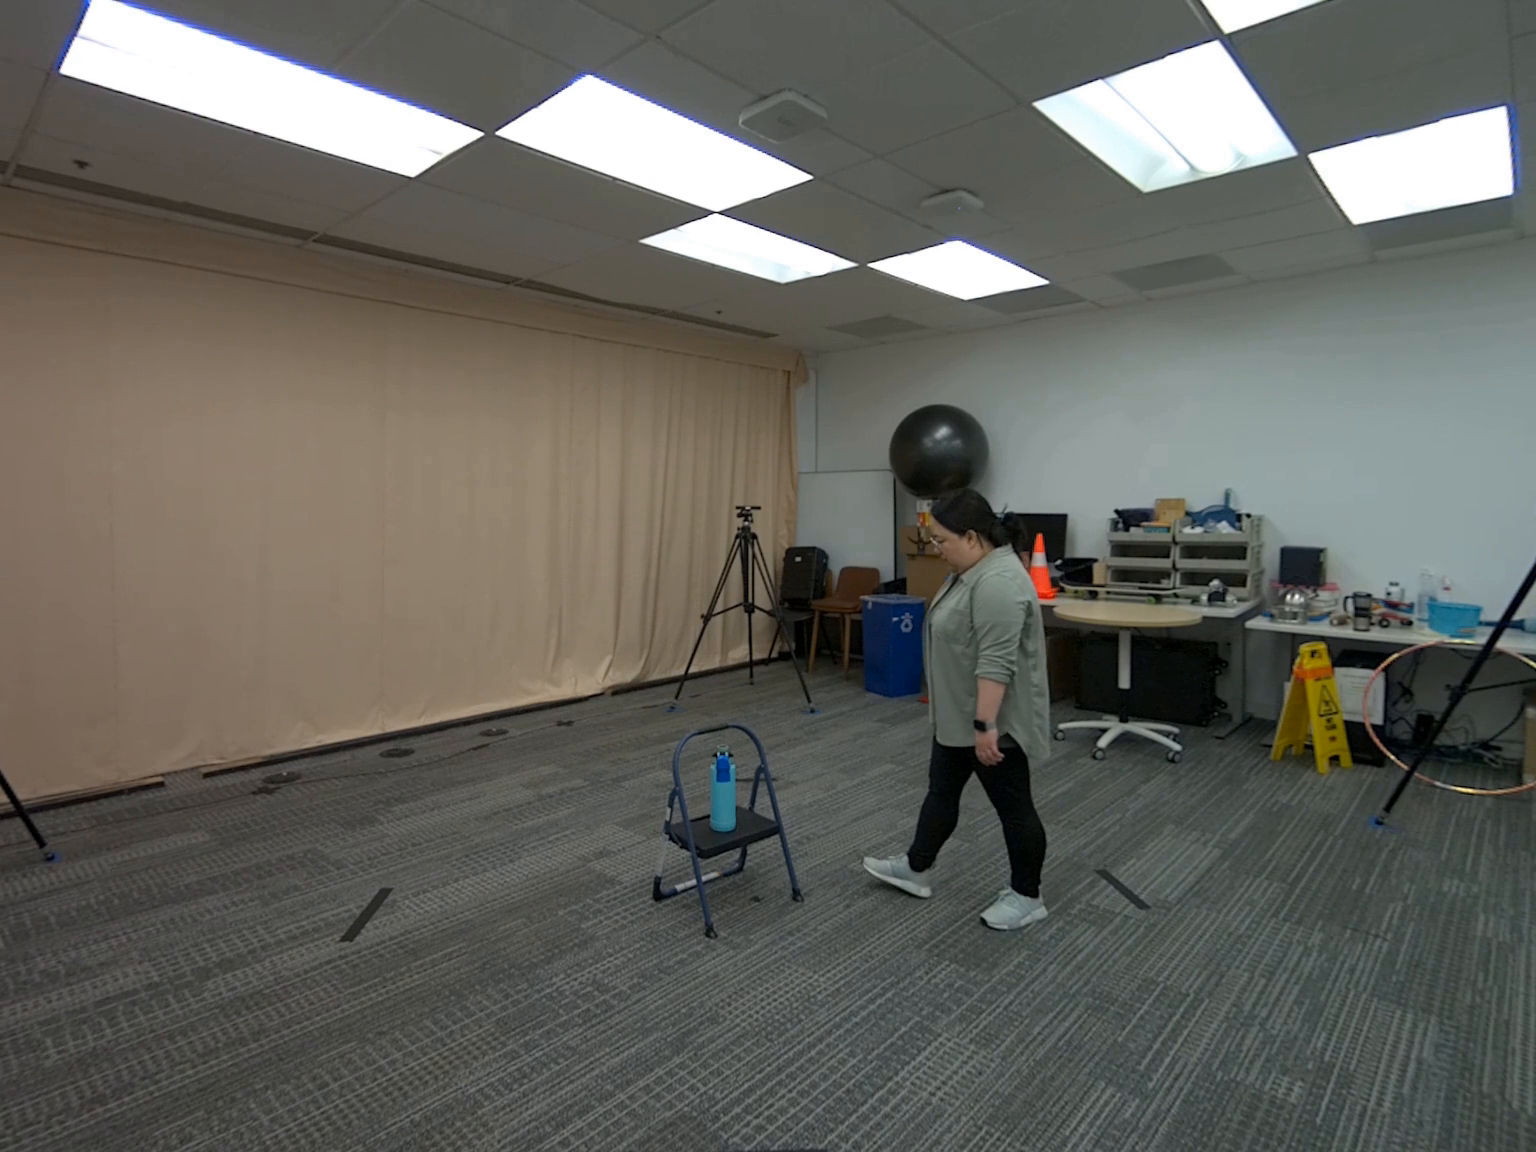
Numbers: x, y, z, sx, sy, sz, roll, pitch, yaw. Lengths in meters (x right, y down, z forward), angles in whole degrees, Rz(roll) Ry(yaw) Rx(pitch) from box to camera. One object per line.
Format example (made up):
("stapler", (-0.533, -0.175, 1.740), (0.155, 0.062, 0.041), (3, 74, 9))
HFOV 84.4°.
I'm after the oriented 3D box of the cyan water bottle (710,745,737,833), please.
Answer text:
("cyan water bottle", (-0.154, 0.749, 2.956), (0.092, 0.282, 0.093), (1, 5, -2))
